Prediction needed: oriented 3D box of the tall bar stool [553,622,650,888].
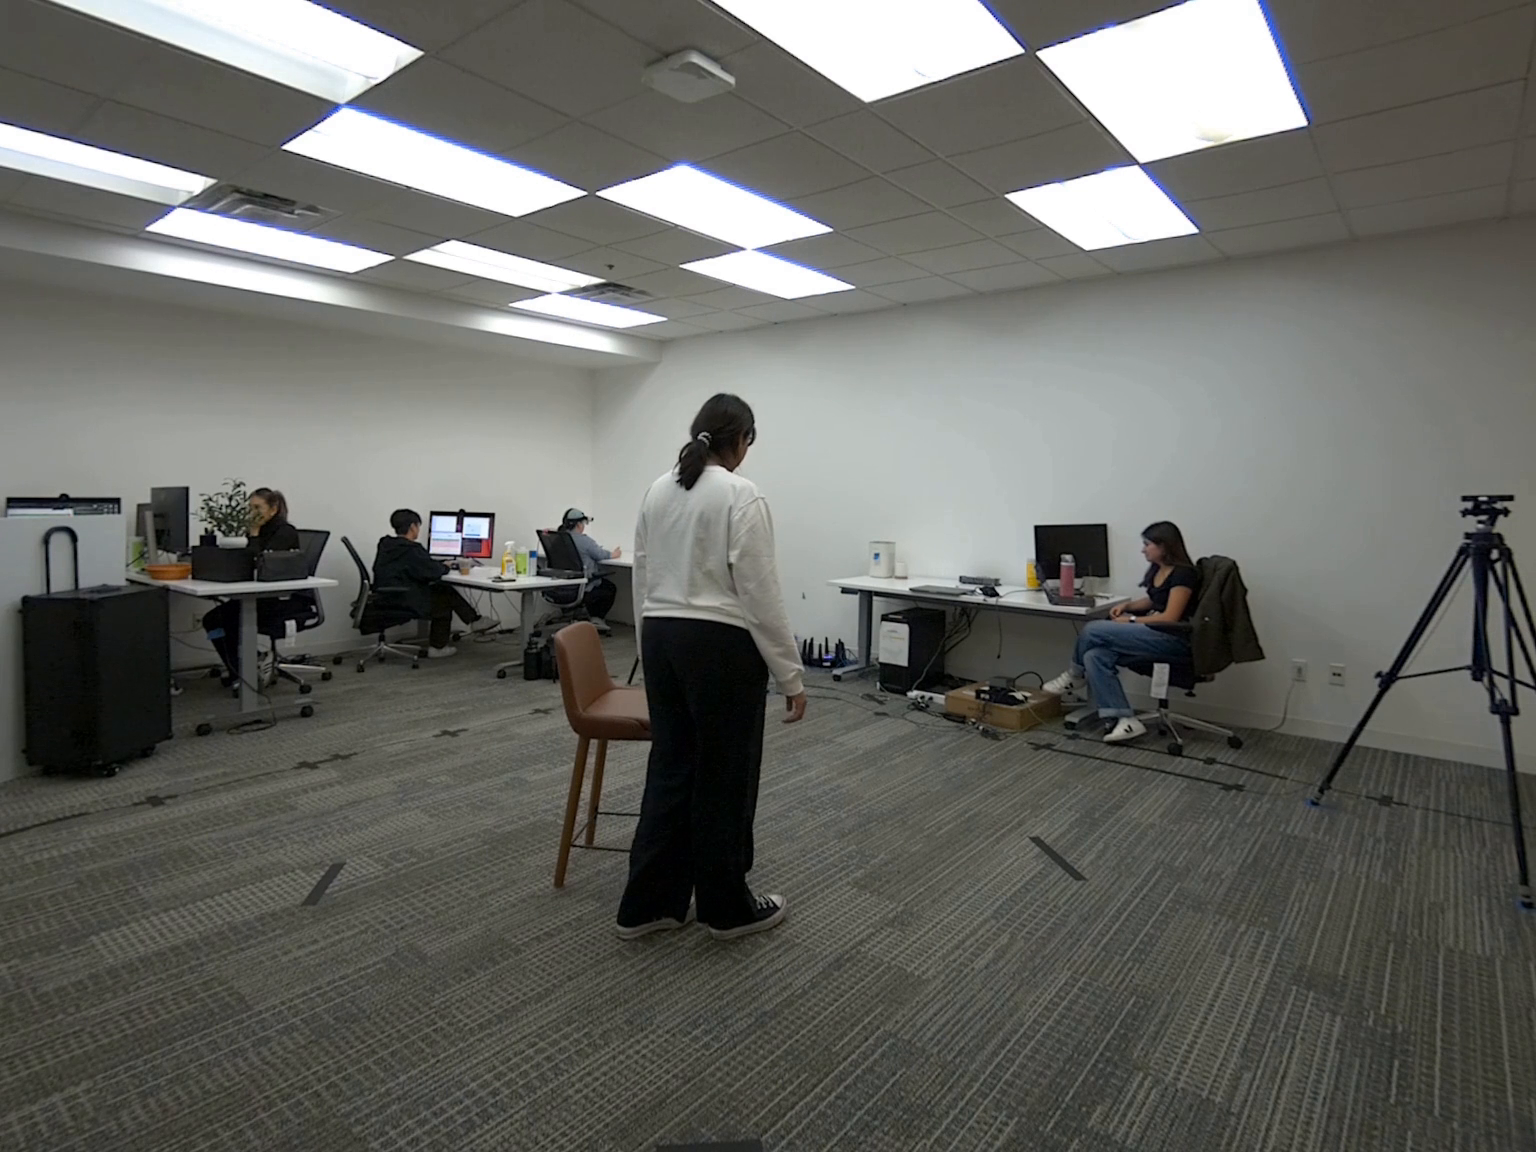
[{"bbox_3d":[-0.504,0.630,3.068,0.472,0.888,0.453,0,3,8],"label":"tall bar stool"}]
